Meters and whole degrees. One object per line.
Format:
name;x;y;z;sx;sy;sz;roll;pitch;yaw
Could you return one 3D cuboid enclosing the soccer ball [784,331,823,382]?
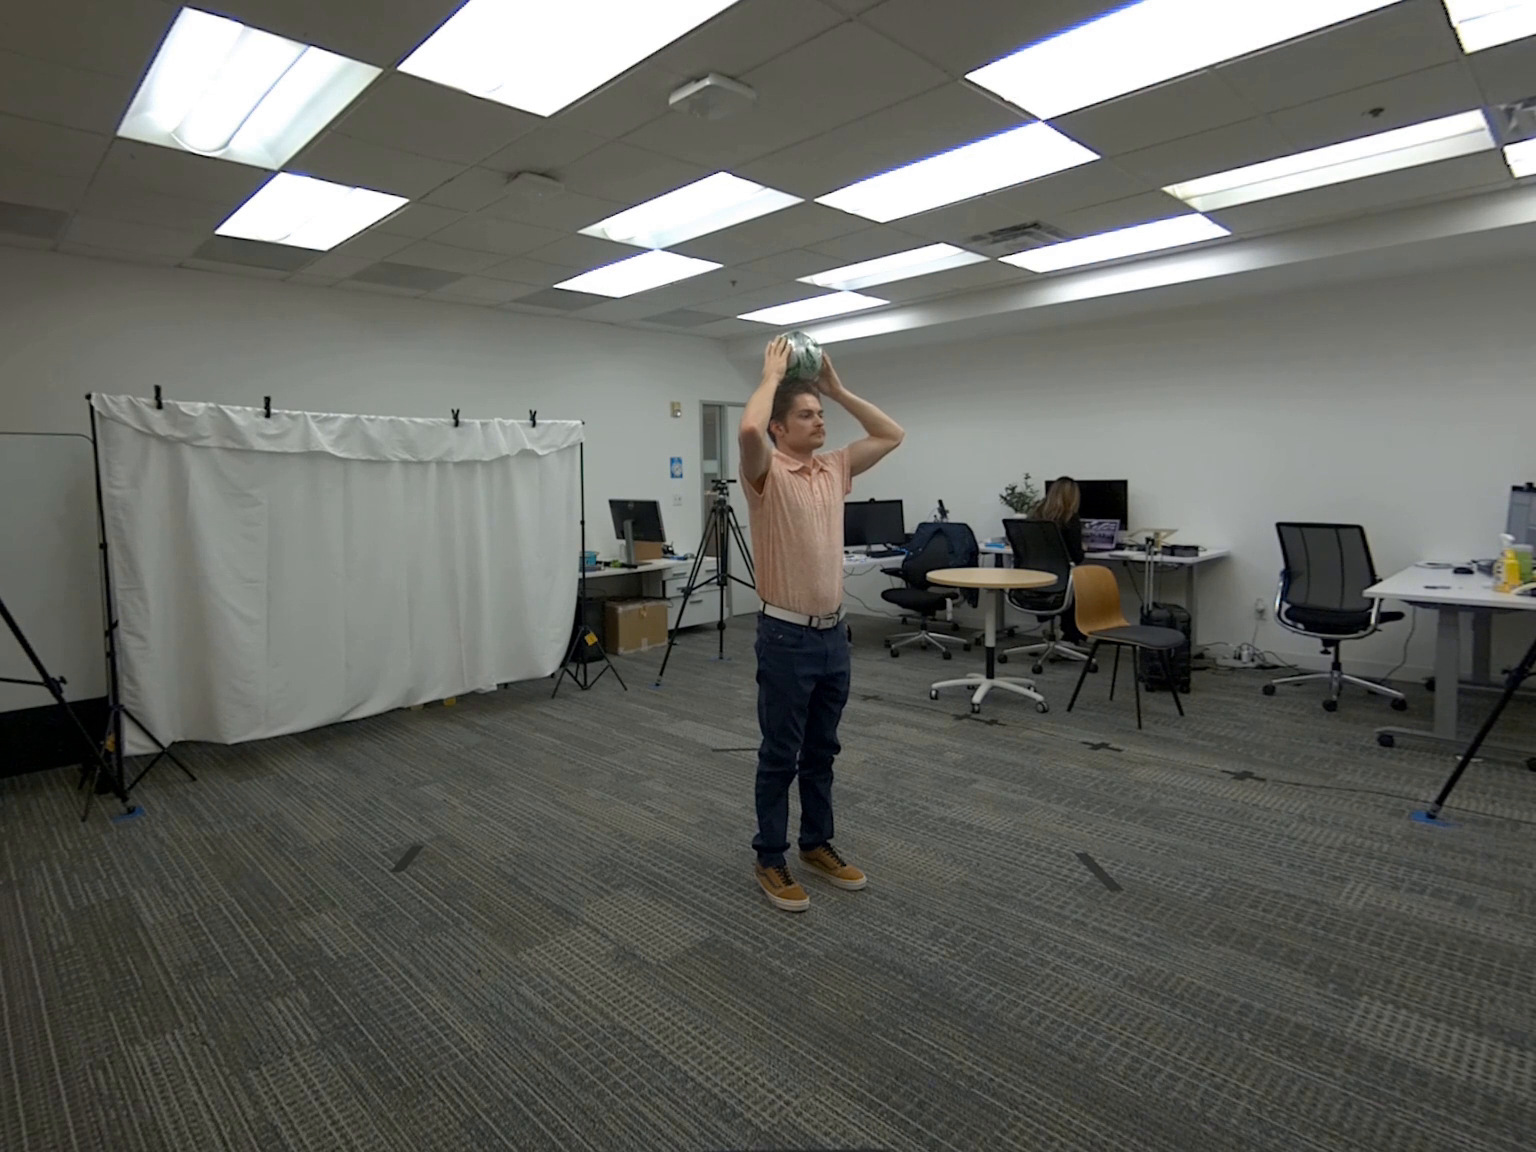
soccer ball;0.091;-0.723;2.869;0.187;0.187;0.188;-1;5;-2
